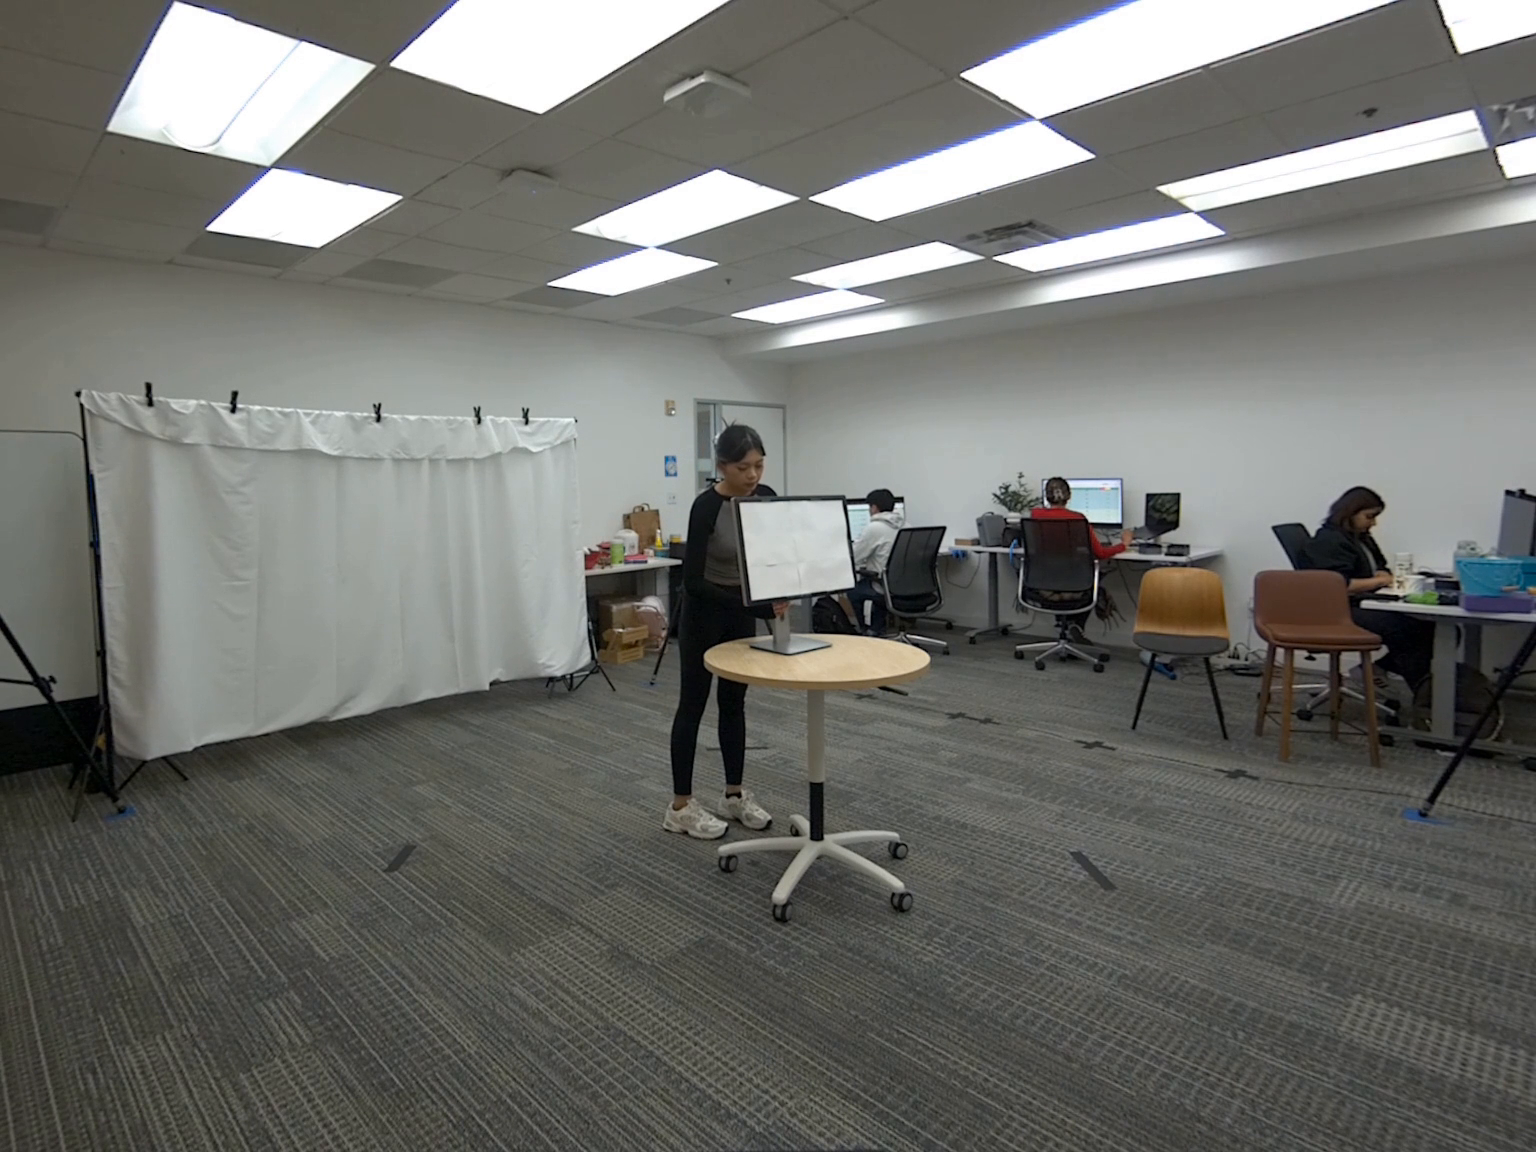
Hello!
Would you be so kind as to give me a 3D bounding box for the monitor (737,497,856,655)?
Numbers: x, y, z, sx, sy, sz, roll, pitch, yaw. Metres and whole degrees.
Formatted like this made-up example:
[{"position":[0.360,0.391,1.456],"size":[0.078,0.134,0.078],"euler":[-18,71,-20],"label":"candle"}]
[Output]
[{"position":[0.080,-0.009,3.049],"size":[0.193,0.520,0.525],"euler":[6,8,44],"label":"monitor"}]
